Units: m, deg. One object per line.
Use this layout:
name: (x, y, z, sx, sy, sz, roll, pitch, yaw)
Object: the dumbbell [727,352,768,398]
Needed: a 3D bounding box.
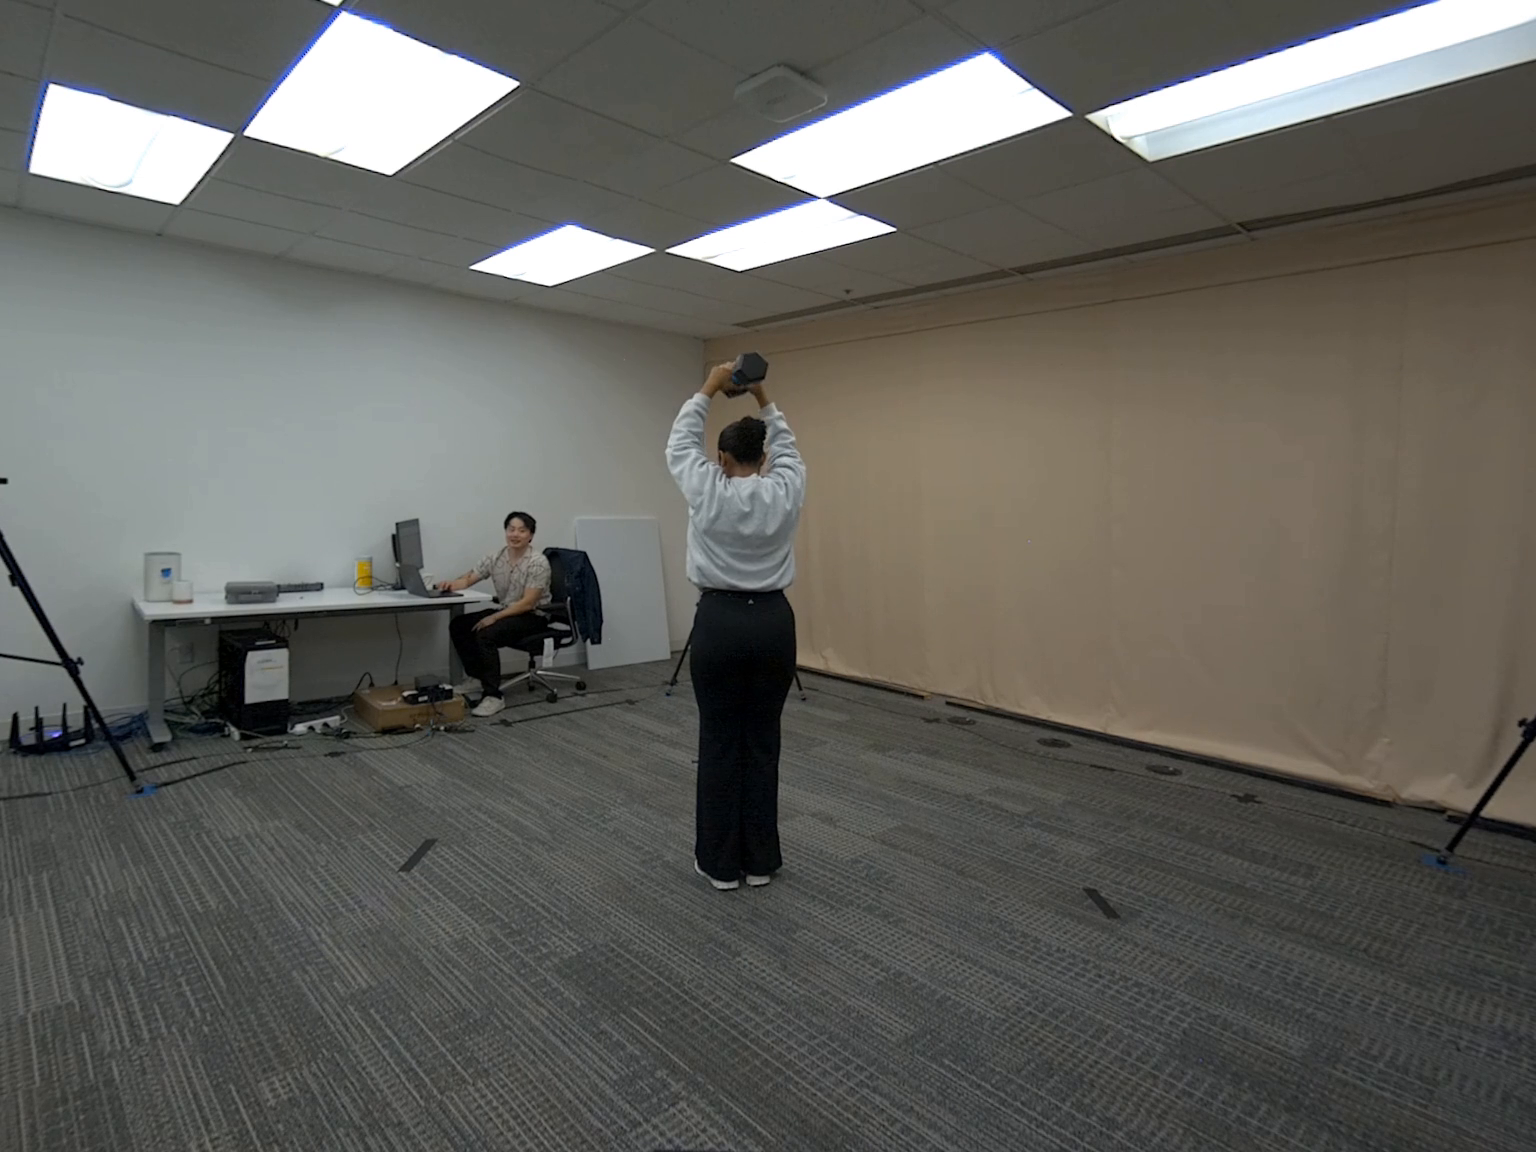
dumbbell: (-0.098, -0.723, 3.103, 0.122, 0.109, 0.296, 43, -8, -11)
